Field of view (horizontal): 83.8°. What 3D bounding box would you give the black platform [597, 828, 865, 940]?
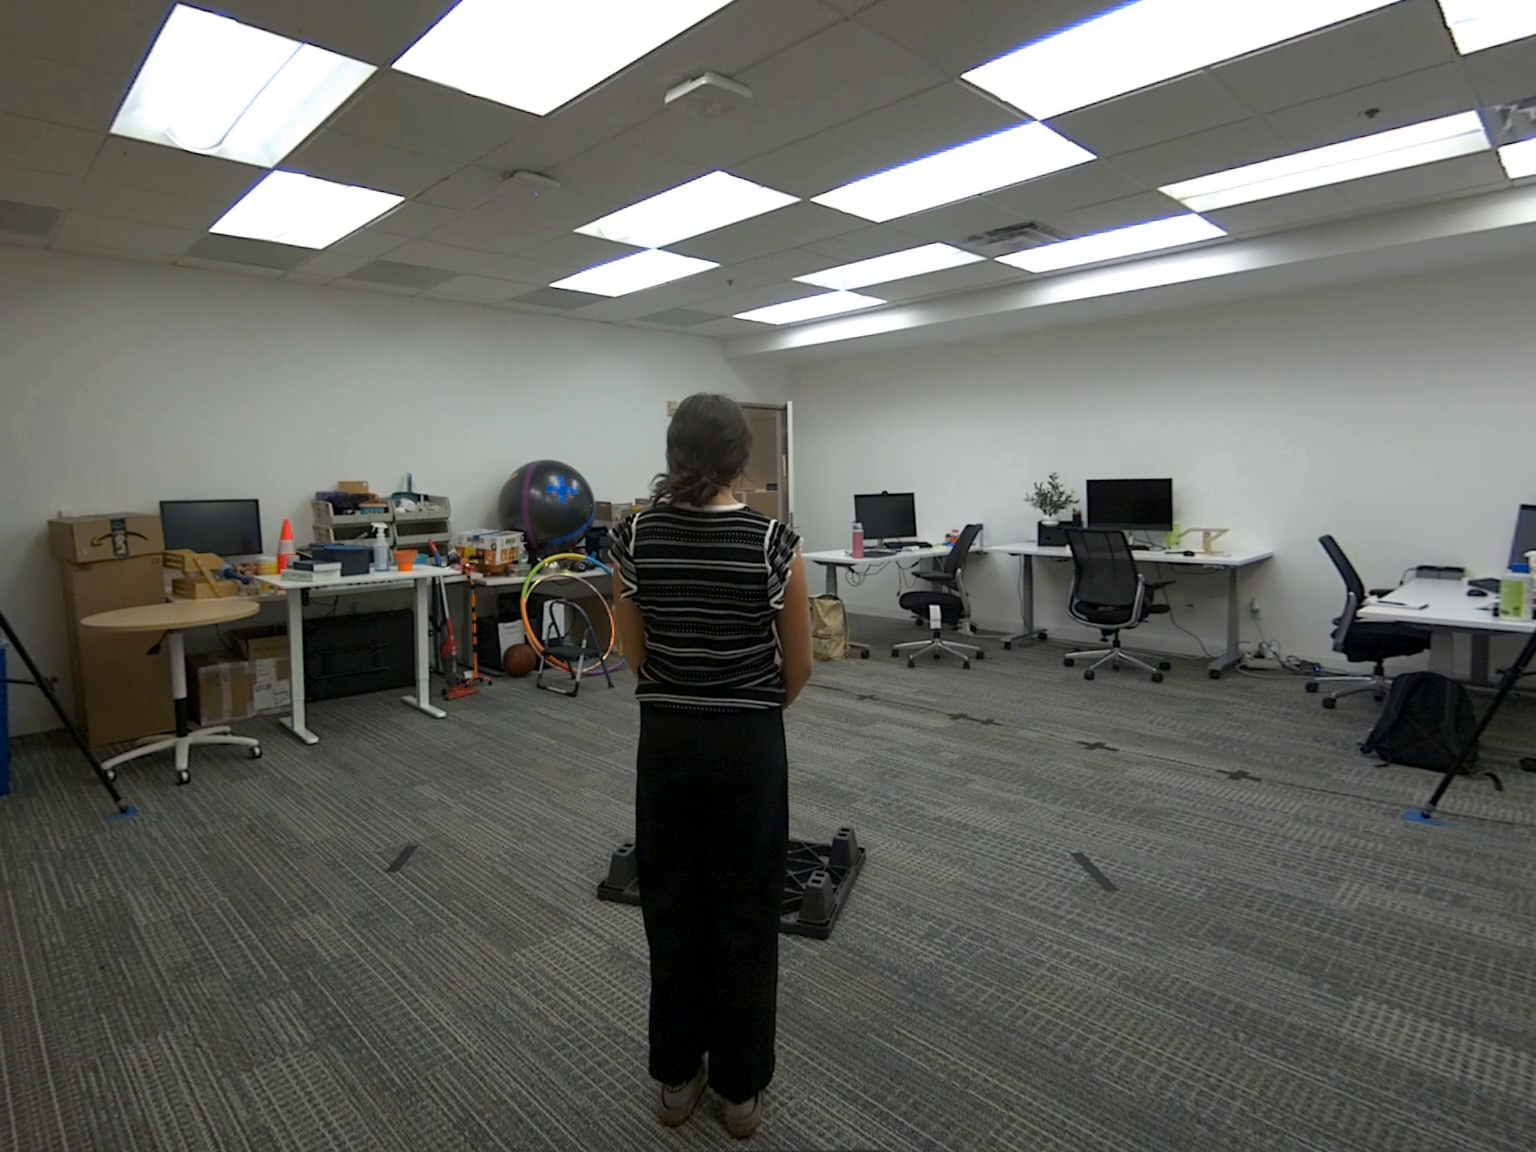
[{"bbox_3d":[-0.109,0.993,2.990,0.821,0.143,0.596,1,6,19],"label":"black platform"}]
